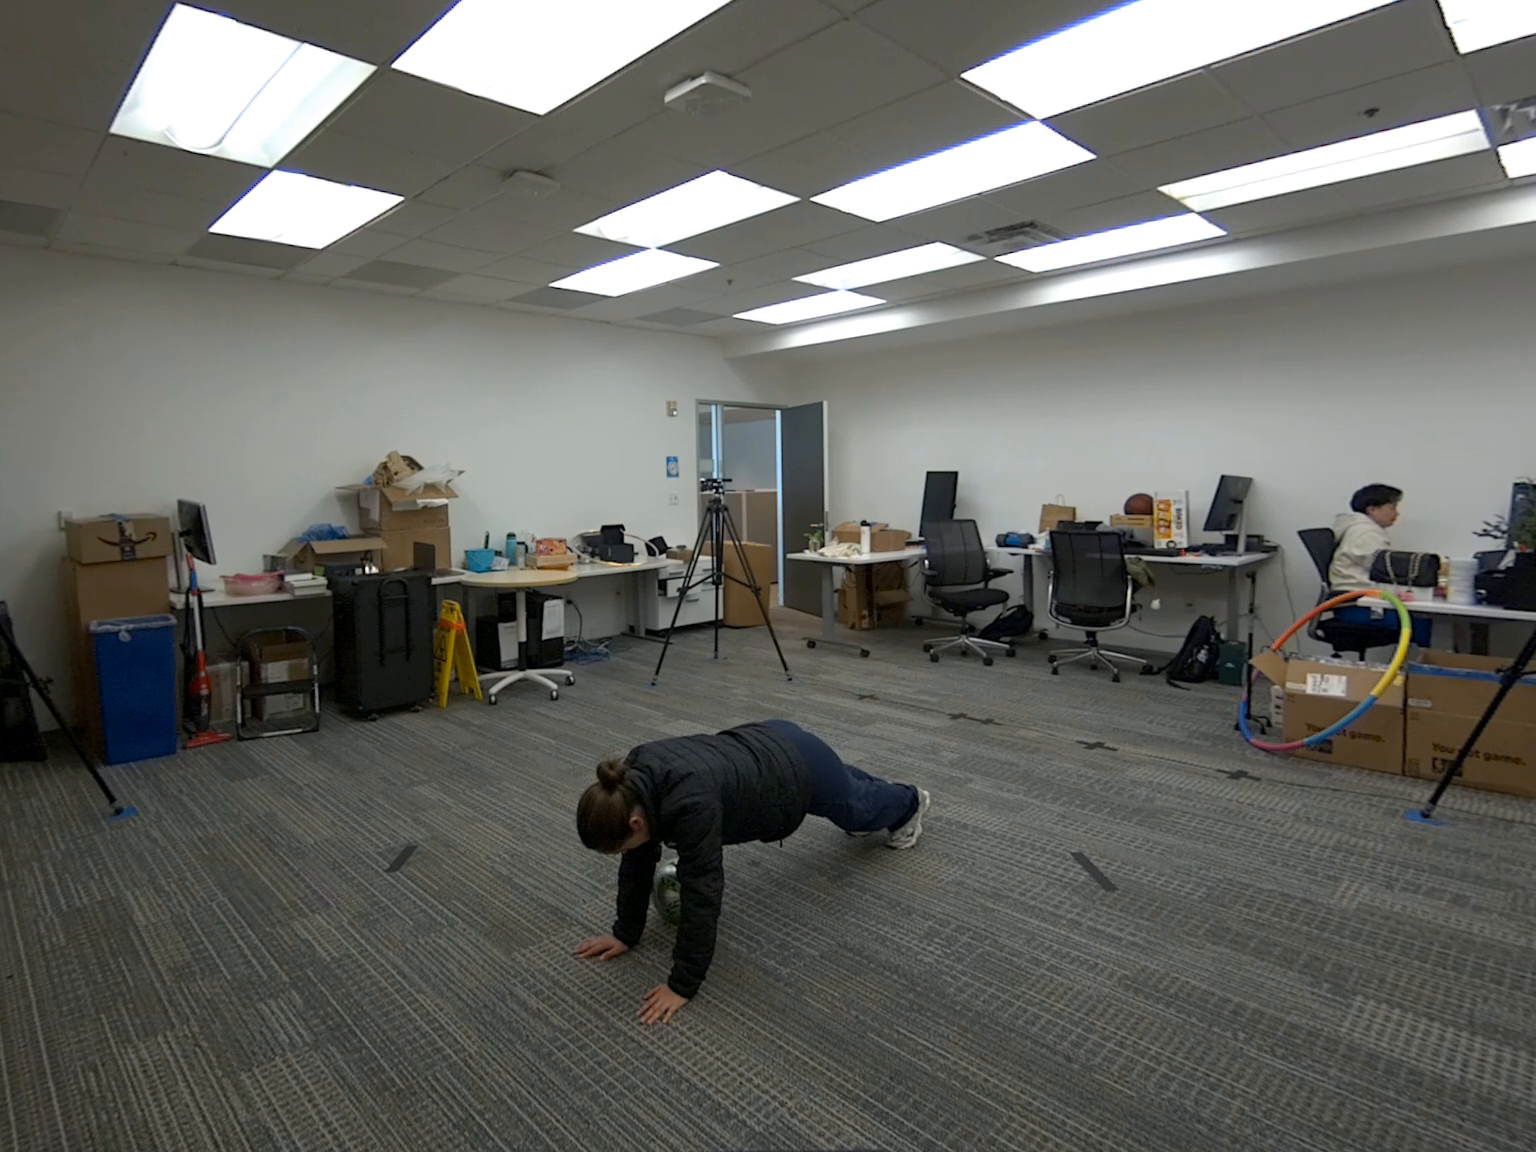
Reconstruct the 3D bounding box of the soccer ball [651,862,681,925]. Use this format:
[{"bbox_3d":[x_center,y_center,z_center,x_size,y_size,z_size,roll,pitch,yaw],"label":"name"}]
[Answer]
[{"bbox_3d":[-0.276,1.000,2.730,0.187,0.187,0.188,-1,5,-2],"label":"soccer ball"}]
